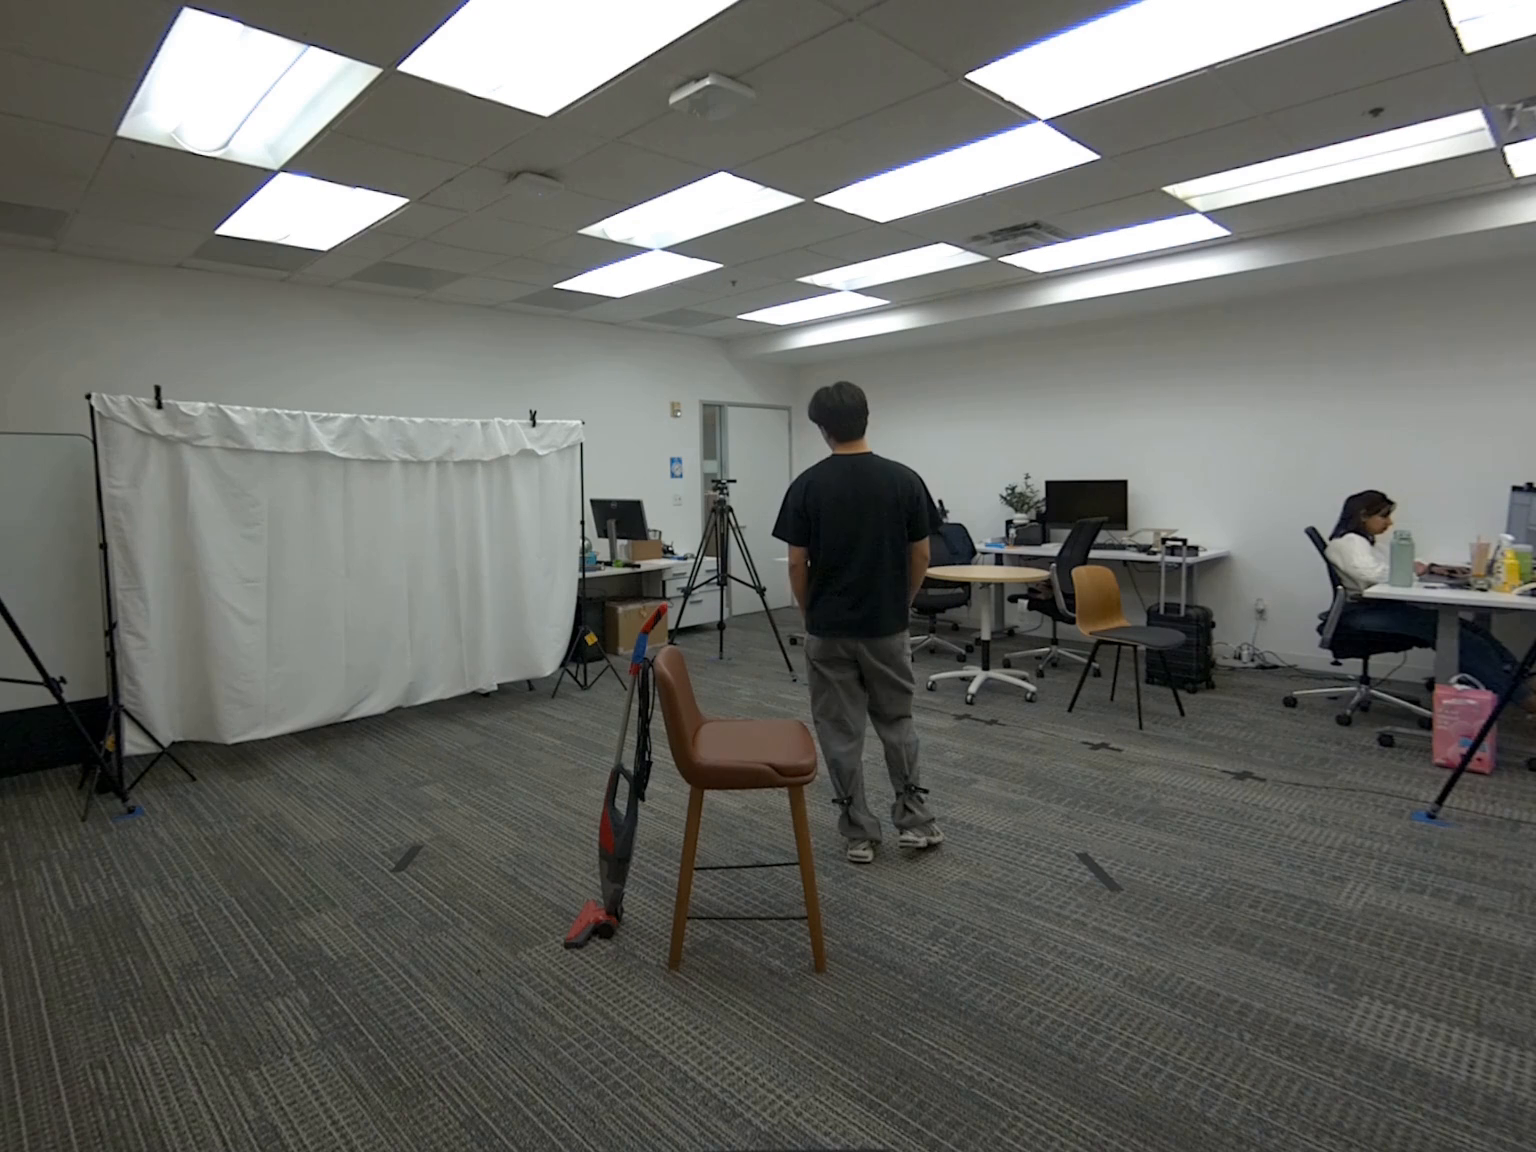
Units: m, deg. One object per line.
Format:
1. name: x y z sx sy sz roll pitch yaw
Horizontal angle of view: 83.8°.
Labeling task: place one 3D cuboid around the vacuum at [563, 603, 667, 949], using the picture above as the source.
1. vacuum: -0.432 0.598 2.643 0.144 1.046 0.253 11 5 -2
